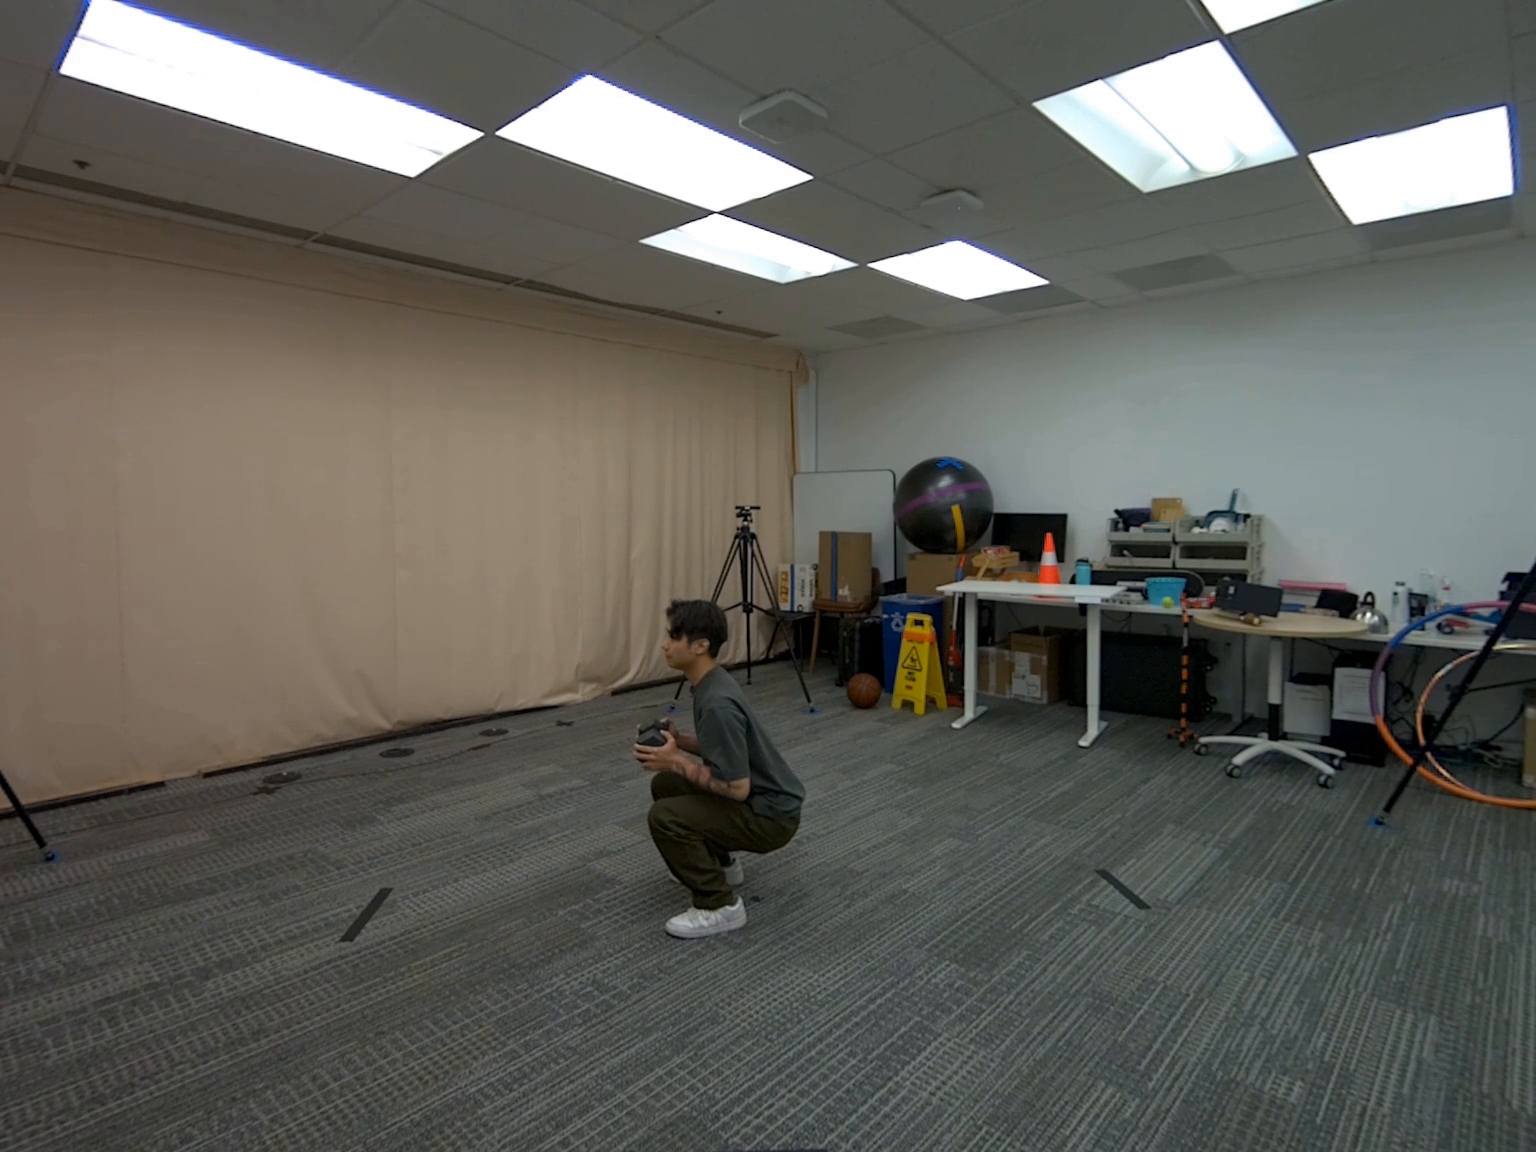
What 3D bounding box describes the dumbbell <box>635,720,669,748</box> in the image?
[{"bbox_3d":[-0.399,0.579,2.950,0.122,0.108,0.295,35,-3,-6],"label":"dumbbell"}]
